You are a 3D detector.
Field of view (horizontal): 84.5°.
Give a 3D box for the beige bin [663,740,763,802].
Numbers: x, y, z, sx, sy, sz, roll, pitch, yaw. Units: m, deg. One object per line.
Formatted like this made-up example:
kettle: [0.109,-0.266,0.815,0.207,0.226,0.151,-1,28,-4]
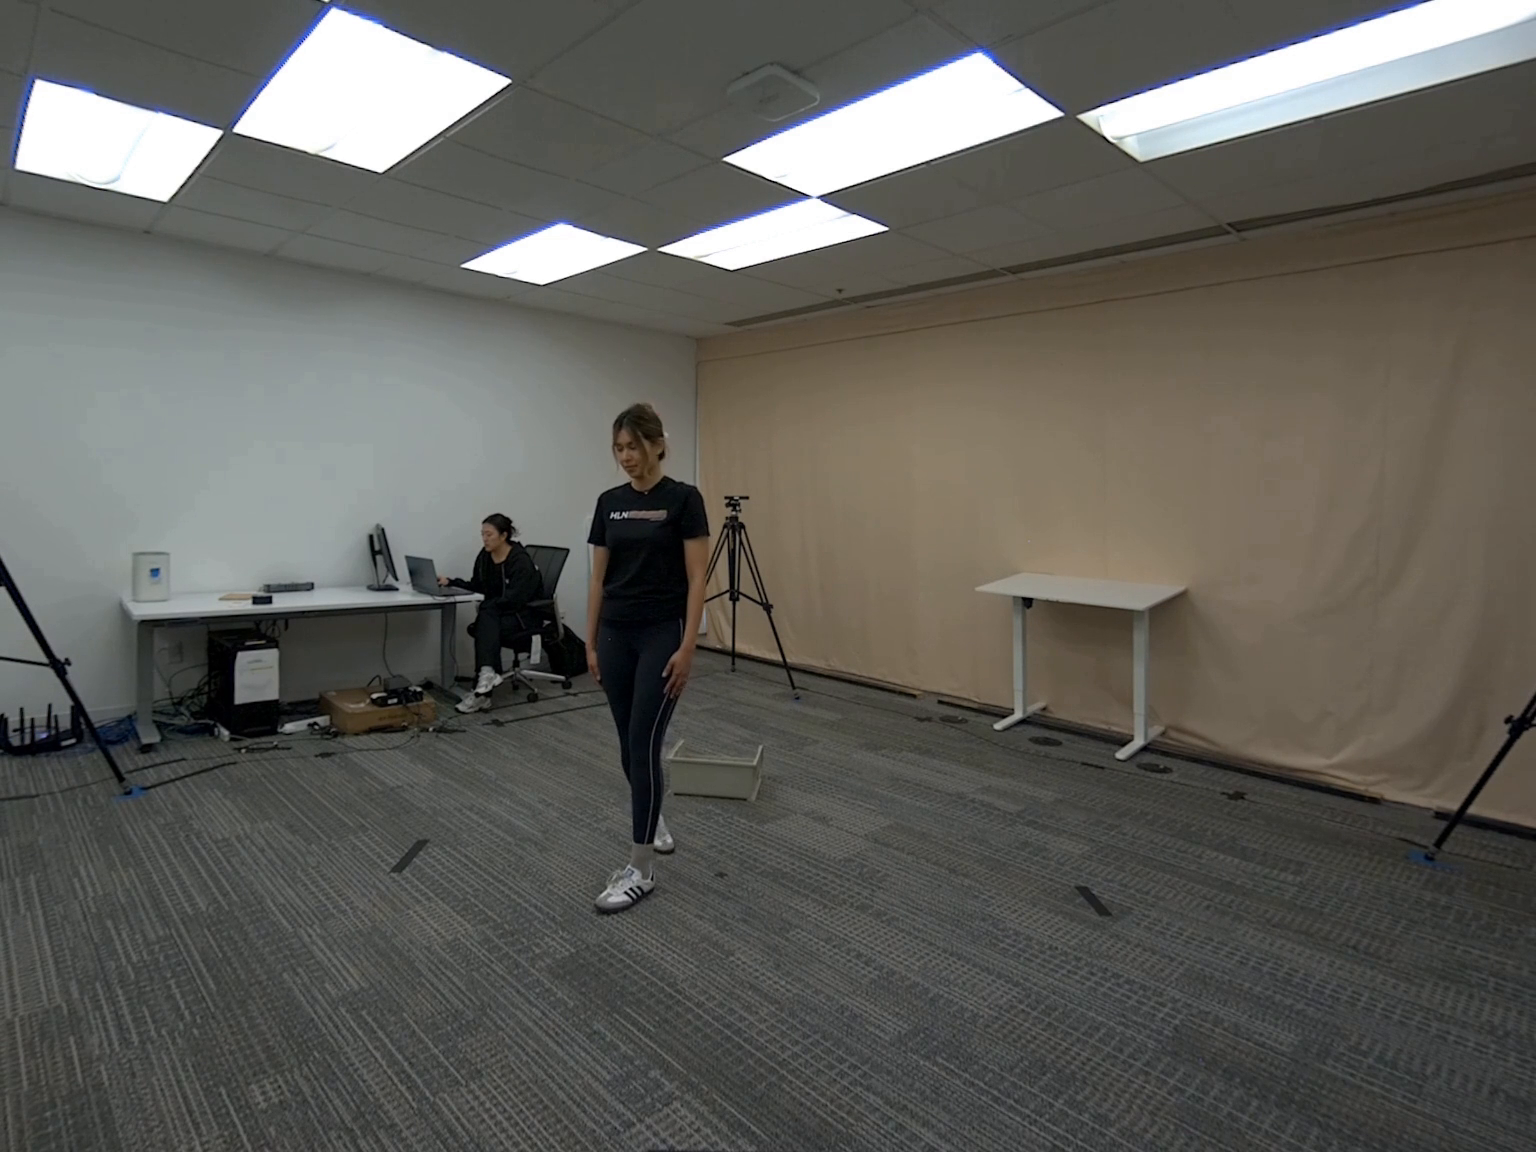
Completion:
beige bin: [-0.260,0.929,4.087,0.425,0.188,0.376,3,5,7]
